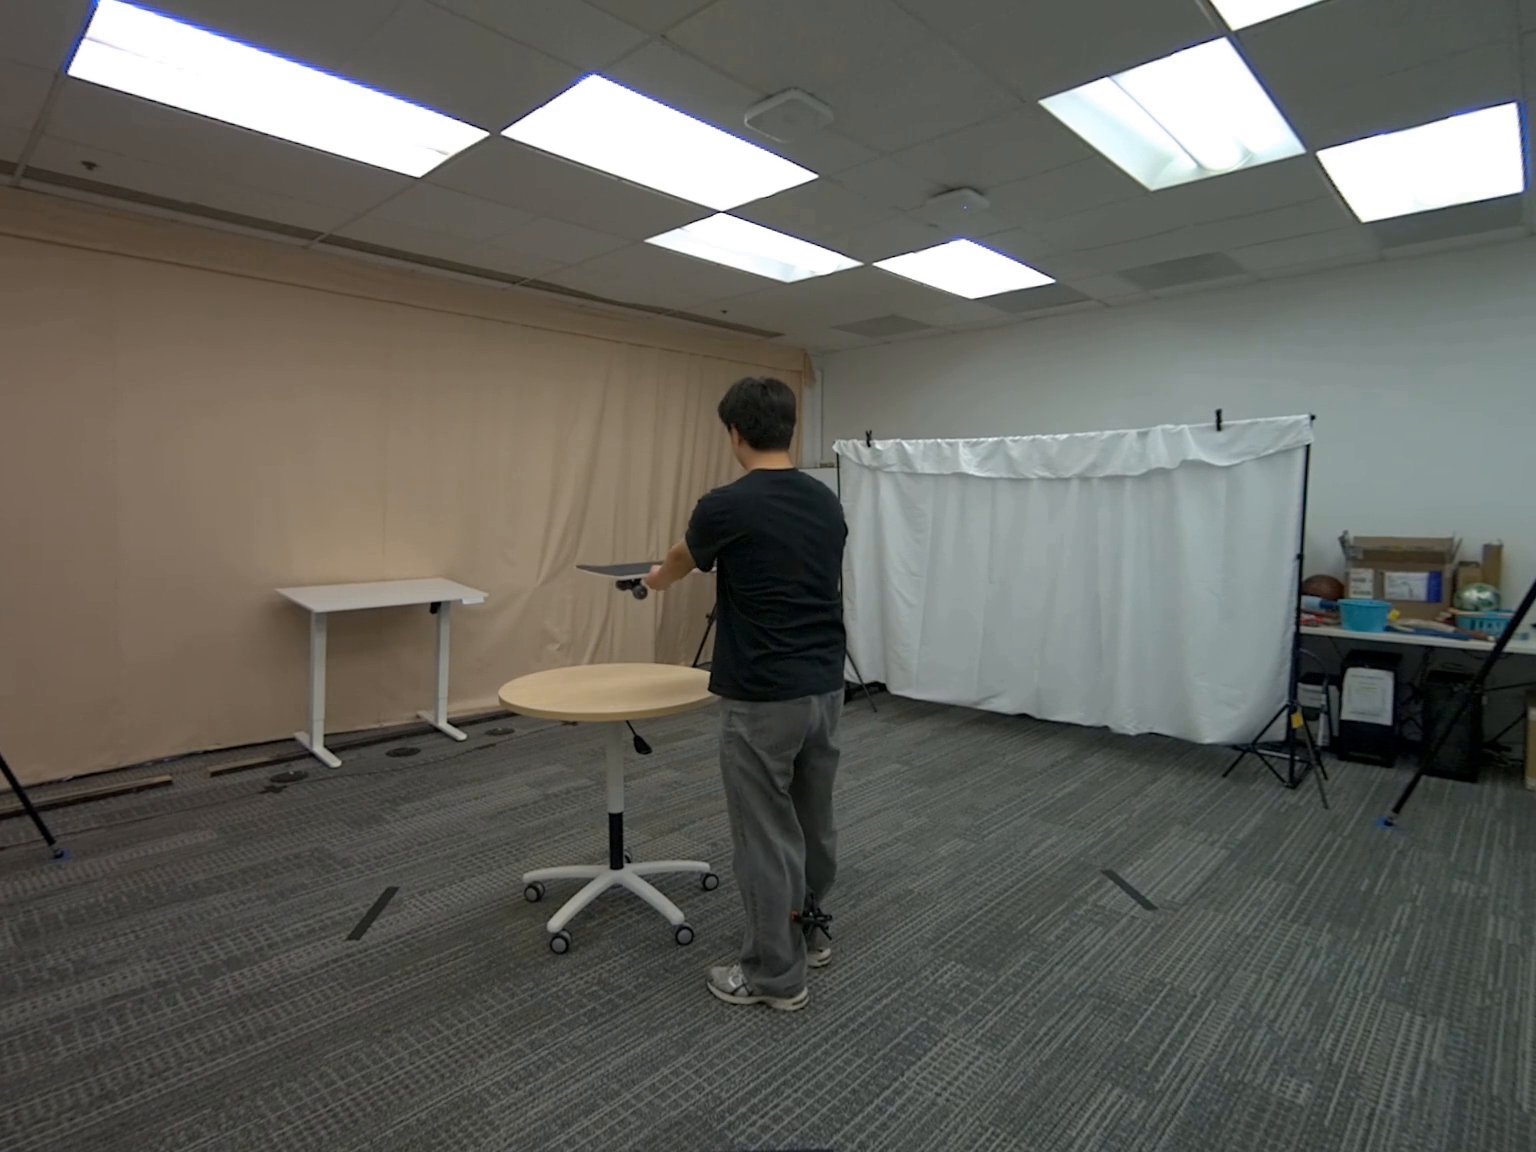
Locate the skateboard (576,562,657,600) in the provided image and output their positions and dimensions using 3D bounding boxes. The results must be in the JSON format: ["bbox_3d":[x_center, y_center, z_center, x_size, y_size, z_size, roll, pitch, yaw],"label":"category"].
[{"bbox_3d":[-0.289,0.001,2.944,0.765,0.110,0.200,-6,12,-31],"label":"skateboard"}]
